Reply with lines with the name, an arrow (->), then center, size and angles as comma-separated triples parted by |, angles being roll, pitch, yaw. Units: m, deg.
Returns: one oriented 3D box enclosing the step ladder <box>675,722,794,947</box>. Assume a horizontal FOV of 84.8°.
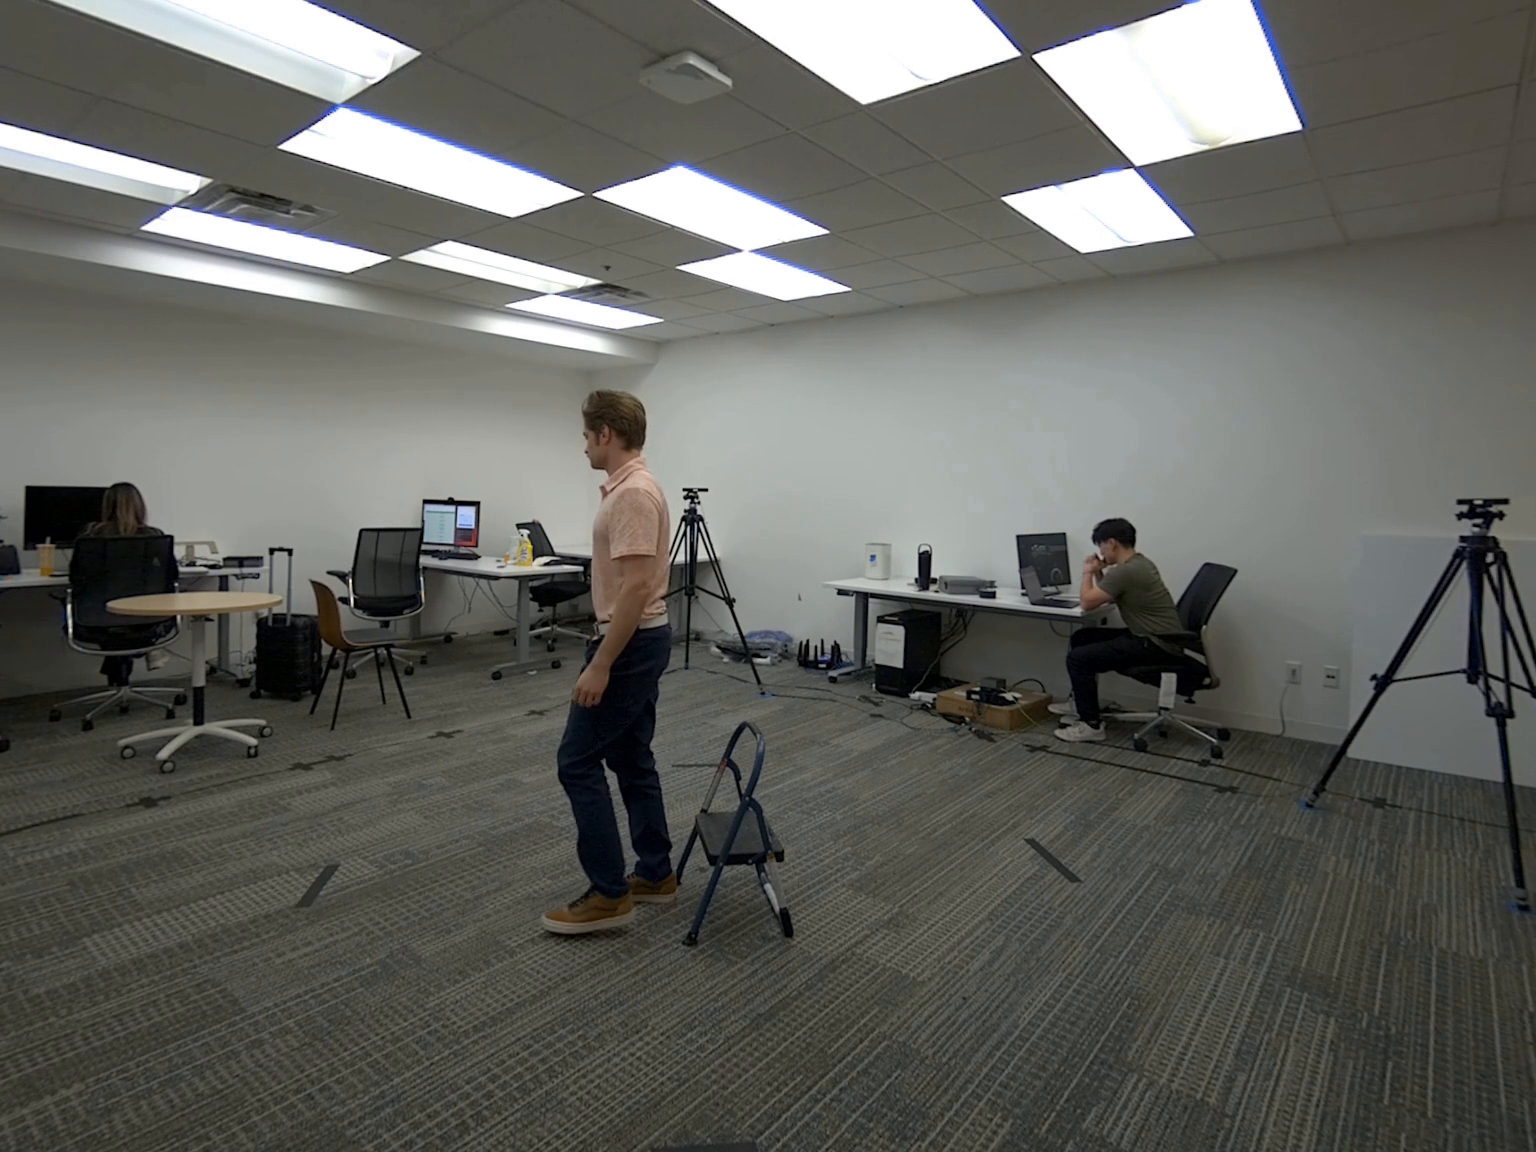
step ladder -> -0.131, 0.803, 2.797 | 0.345, 0.604, 0.438 | 1, 4, -13
